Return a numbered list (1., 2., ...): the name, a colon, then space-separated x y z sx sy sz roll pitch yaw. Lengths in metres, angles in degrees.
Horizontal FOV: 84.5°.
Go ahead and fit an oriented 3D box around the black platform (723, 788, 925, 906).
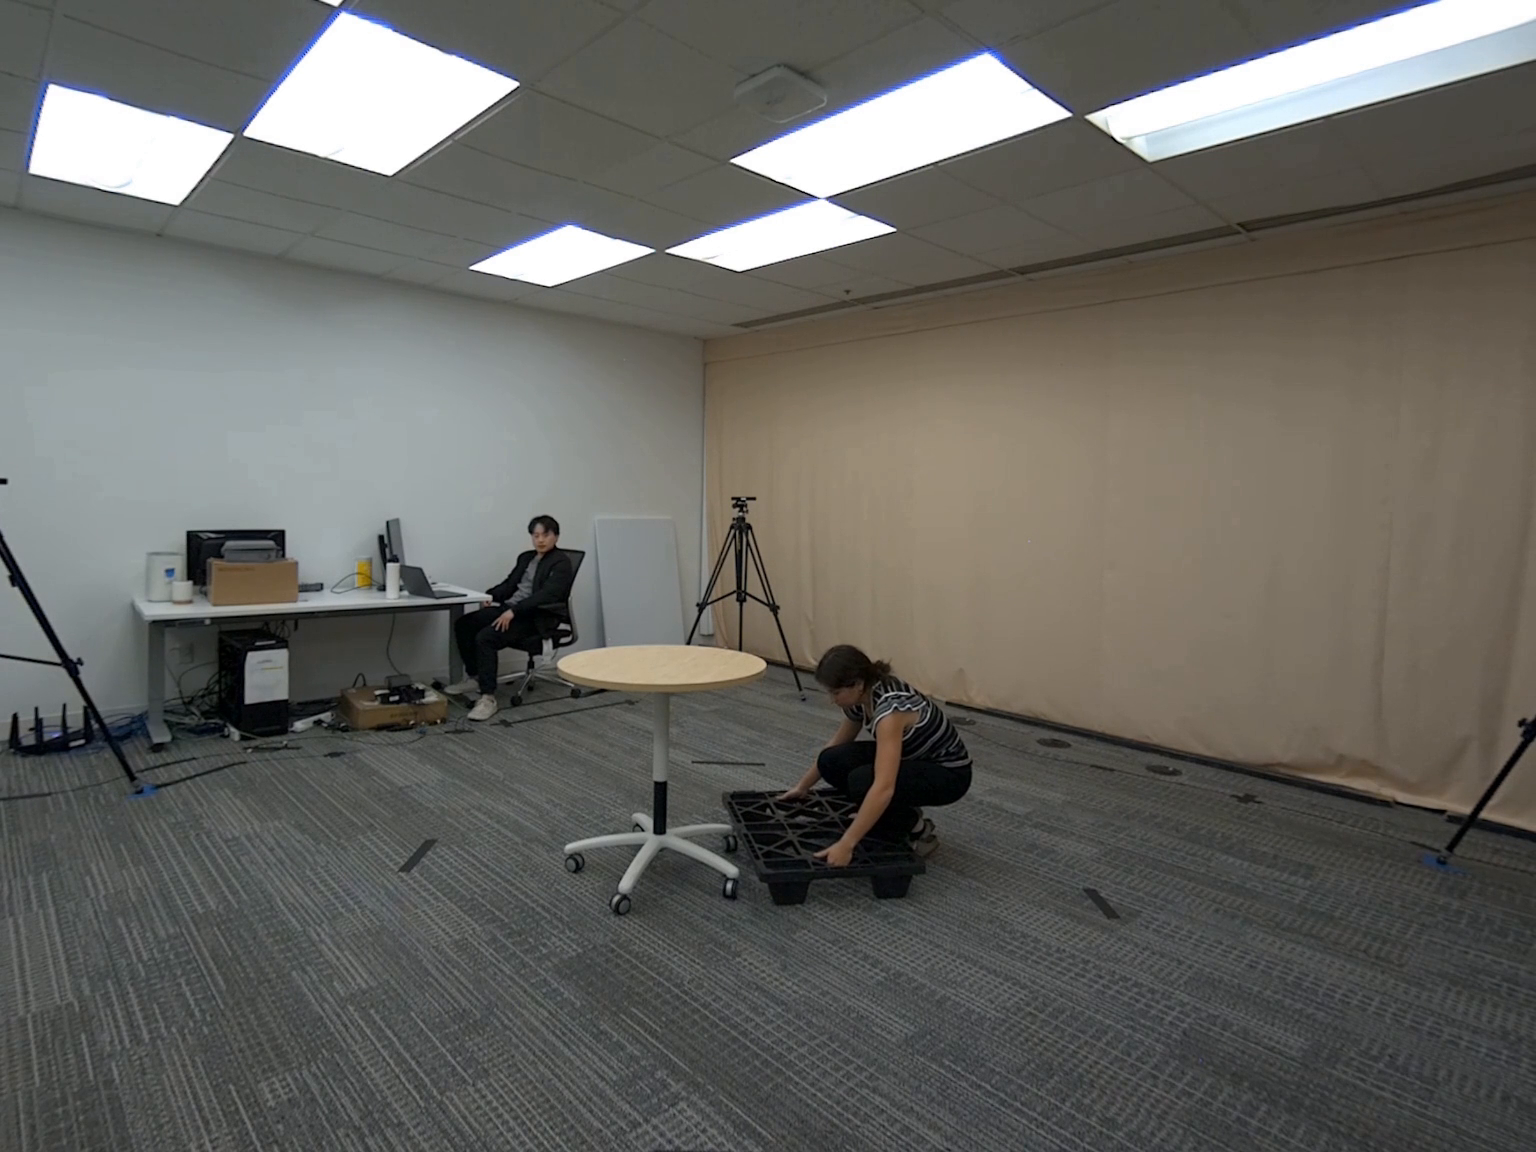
1. black platform: 0.167 1.026 3.272 0.600 0.143 0.815 -1 5 -12
